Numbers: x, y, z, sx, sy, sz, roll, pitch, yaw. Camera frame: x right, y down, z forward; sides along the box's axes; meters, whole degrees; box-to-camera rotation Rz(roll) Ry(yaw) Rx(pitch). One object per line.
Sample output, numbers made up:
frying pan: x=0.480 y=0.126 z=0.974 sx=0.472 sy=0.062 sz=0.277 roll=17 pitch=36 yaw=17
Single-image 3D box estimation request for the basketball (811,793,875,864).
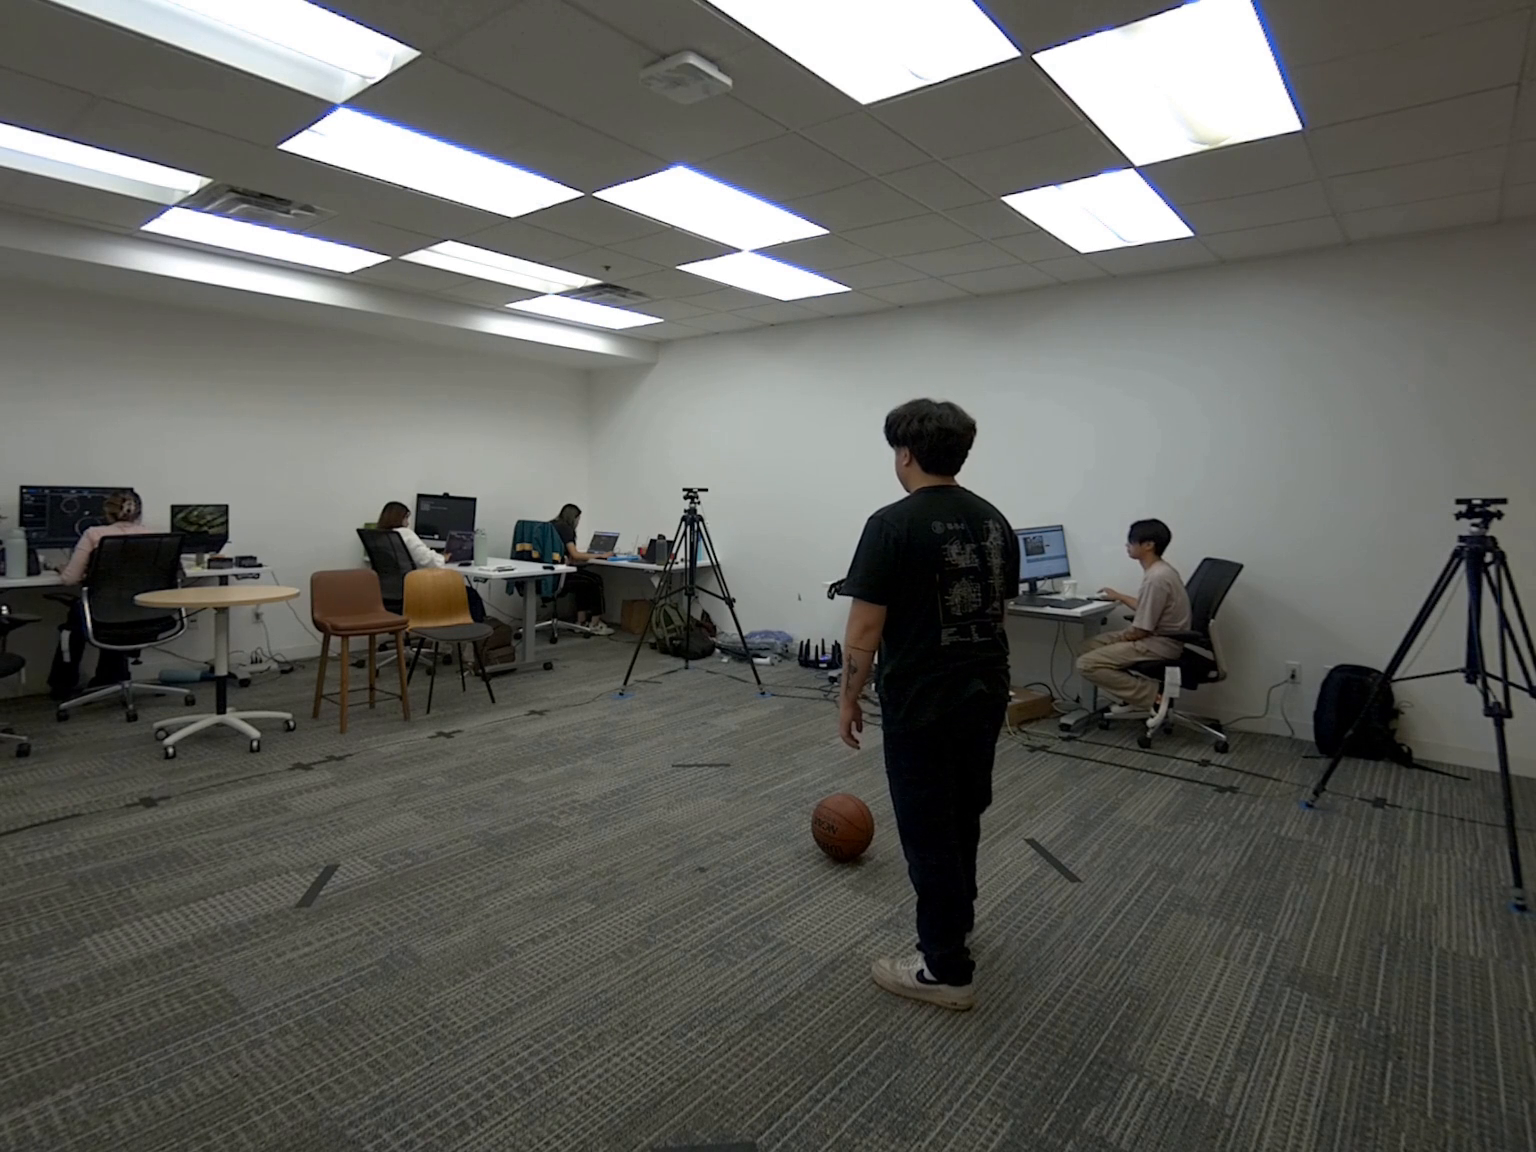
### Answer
basketball: x=0.274 y=0.945 z=3.239 sx=0.235 sy=0.235 sz=0.237 roll=1 pitch=4 yaw=-2
